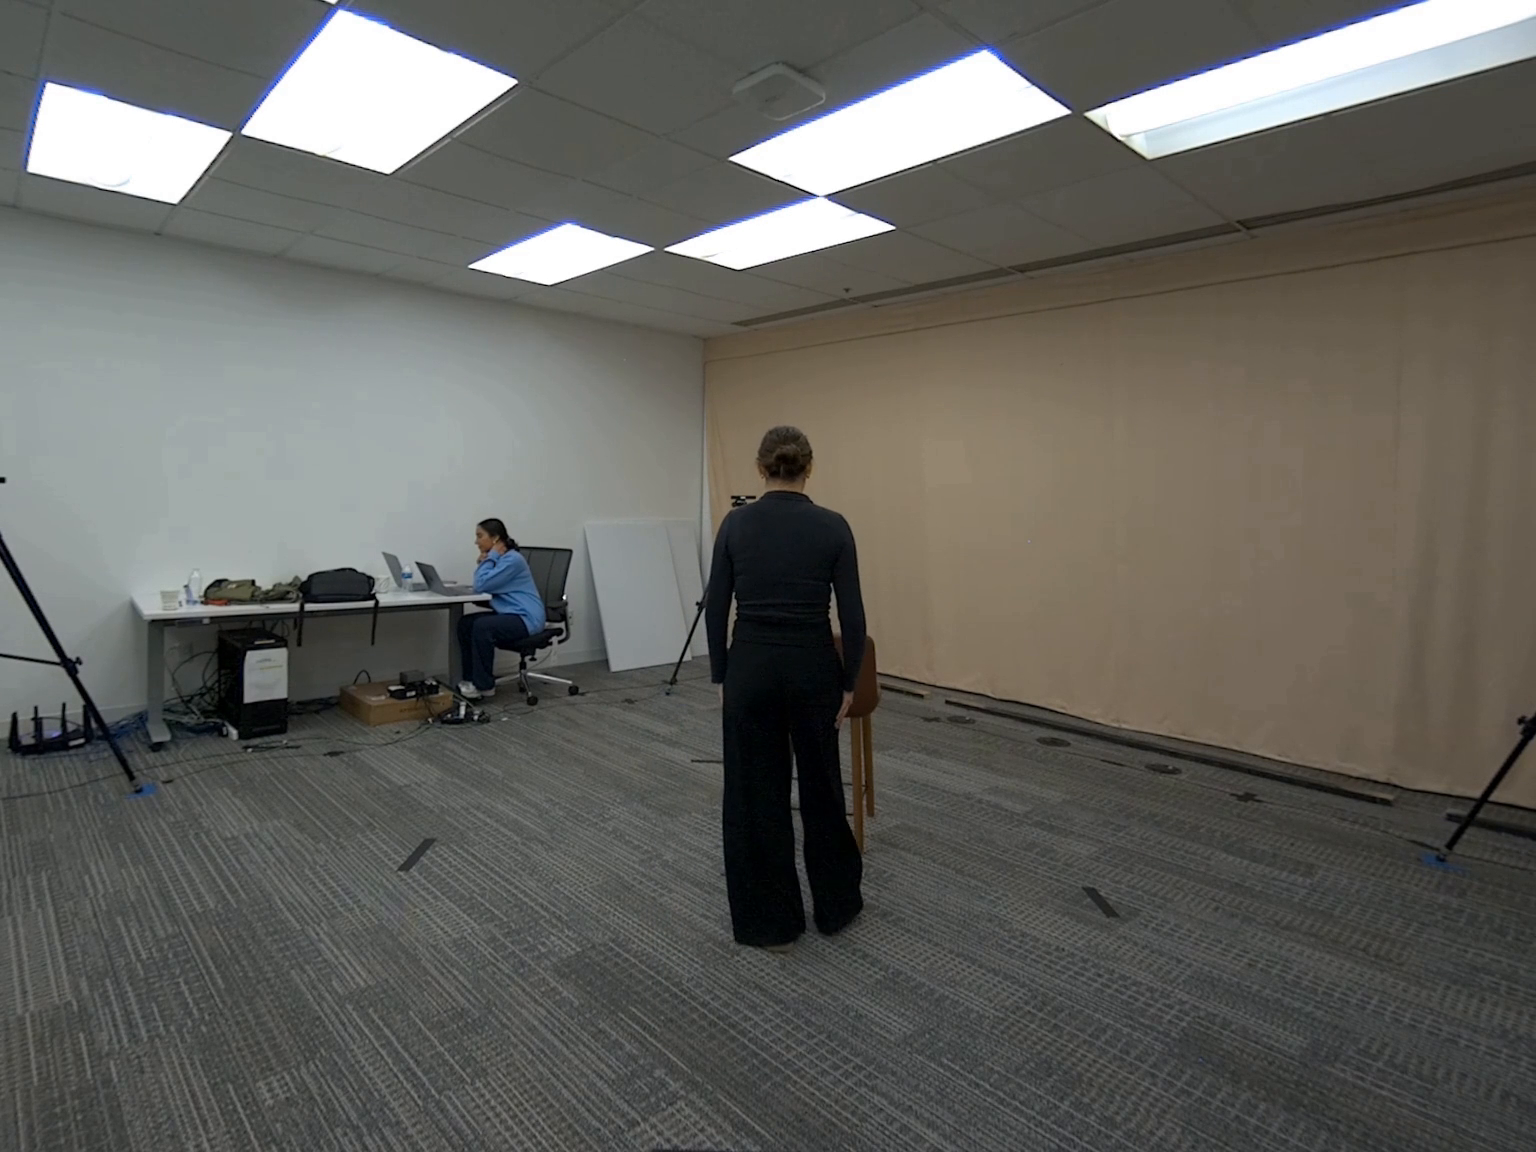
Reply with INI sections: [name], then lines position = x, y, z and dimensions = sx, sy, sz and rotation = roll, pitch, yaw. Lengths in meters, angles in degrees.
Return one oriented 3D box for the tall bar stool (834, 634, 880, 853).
[tall bar stool]
position = 0.237, 0.639, 3.538
dimensions = 0.462, 0.887, 0.464
rotation = 2, 5, 13
